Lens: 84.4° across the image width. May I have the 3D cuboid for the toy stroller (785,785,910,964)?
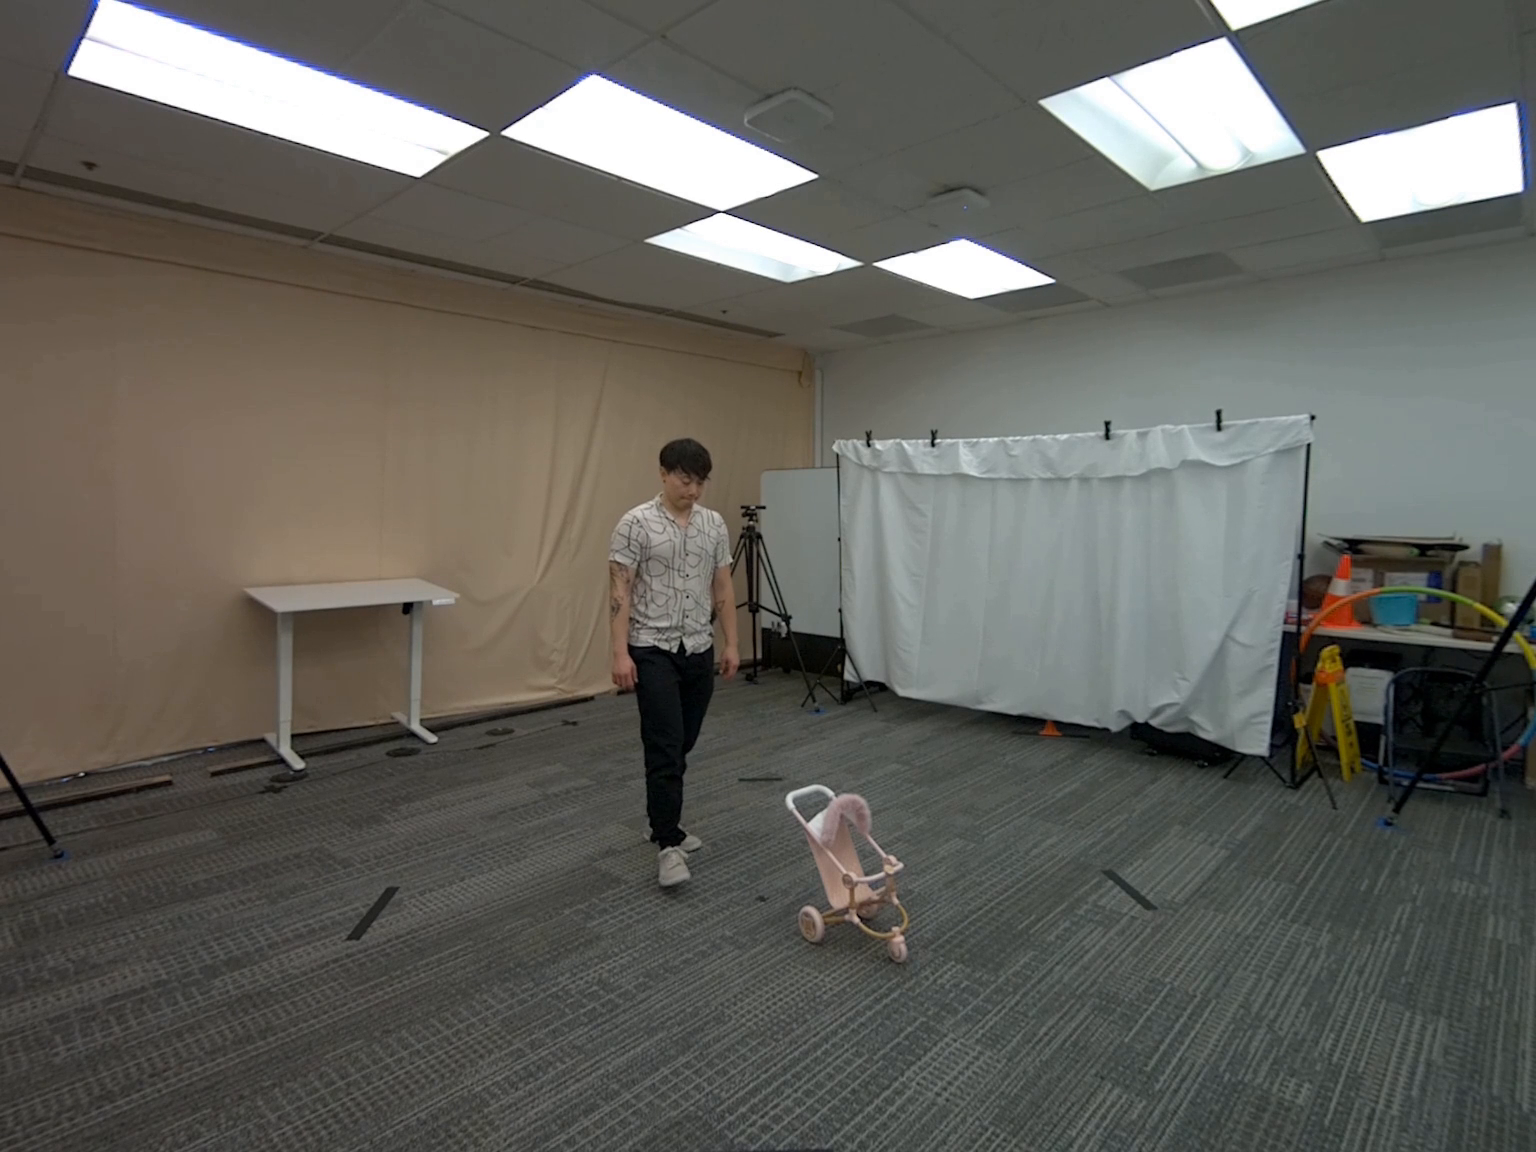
[{"bbox_3d":[0.276,0.942,2.708,0.273,0.540,0.348,-2,-13,-36],"label":"toy stroller"}]
